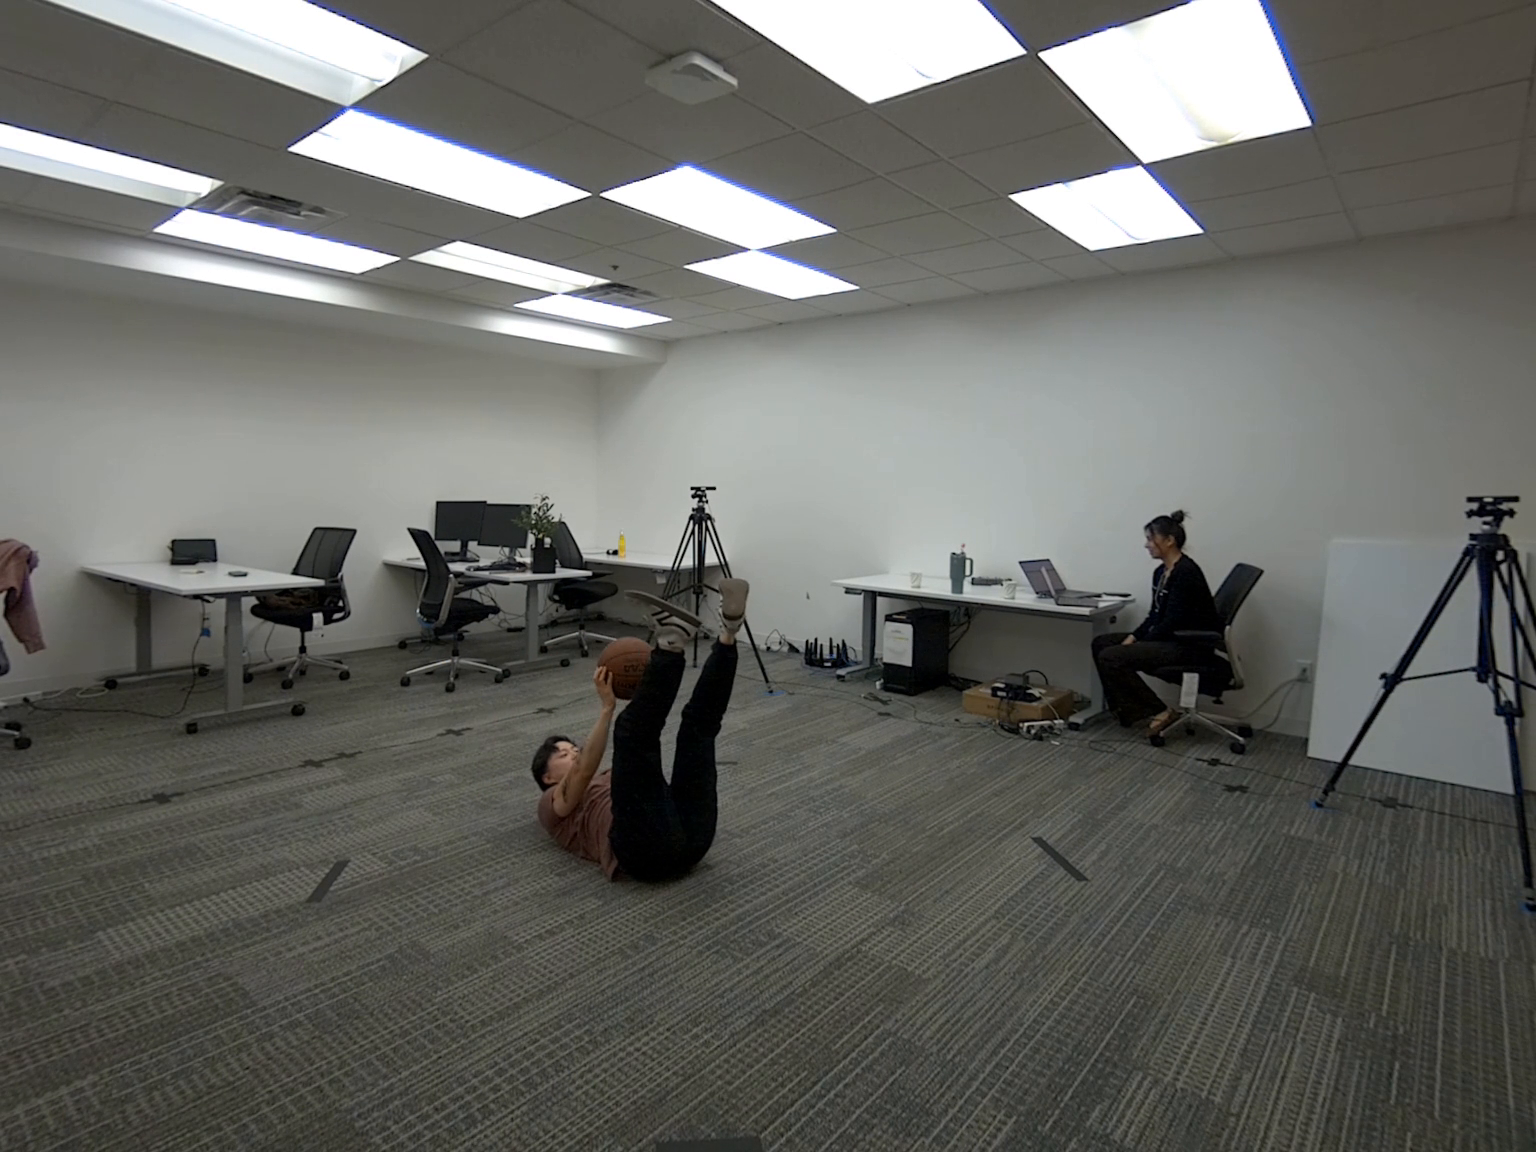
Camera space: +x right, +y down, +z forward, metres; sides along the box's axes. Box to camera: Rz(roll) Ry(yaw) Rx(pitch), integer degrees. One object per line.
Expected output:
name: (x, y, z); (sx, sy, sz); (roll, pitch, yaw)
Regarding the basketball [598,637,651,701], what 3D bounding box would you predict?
basketball: (-0.540, 0.348, 3.219); (0.235, 0.235, 0.237); (1, 5, -2)
